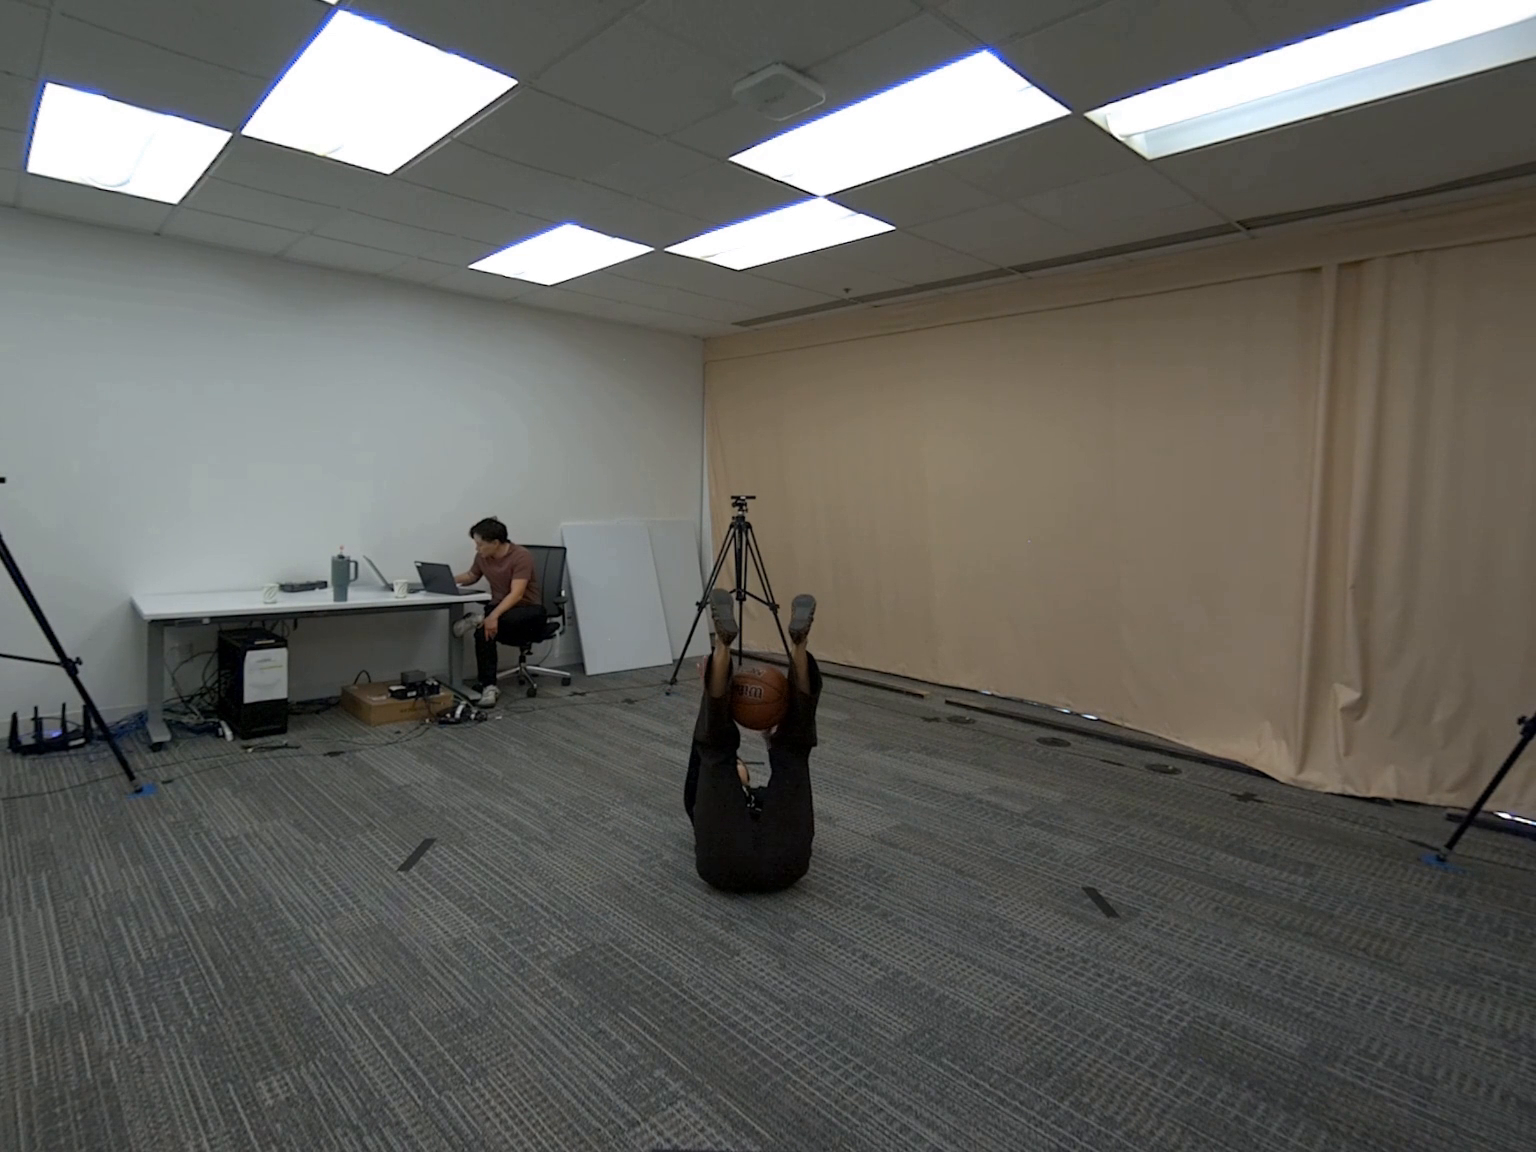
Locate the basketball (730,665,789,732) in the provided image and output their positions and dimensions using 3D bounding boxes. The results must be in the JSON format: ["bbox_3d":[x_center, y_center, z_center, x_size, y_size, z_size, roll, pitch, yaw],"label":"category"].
[{"bbox_3d":[-0.039,0.422,2.971,0.236,0.235,0.237,1,4,-1],"label":"basketball"}]
